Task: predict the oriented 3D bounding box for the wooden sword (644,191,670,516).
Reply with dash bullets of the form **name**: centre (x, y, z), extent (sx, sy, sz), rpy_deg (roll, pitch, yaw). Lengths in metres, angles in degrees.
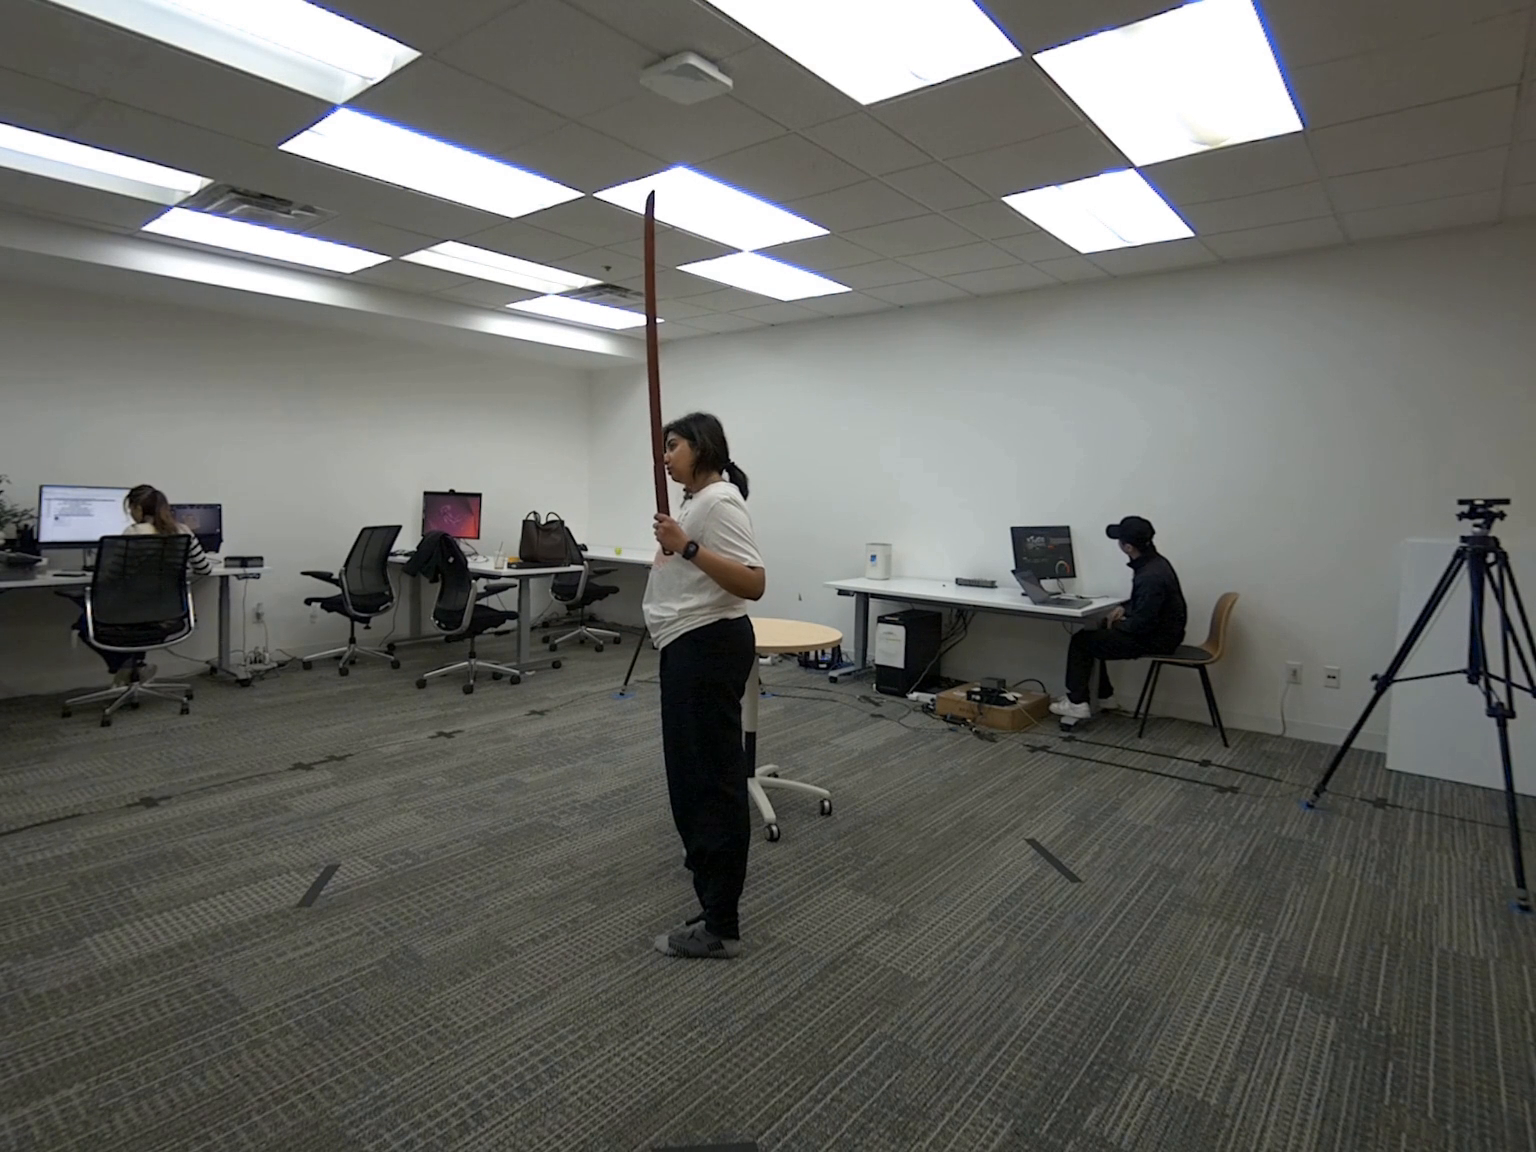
- **wooden sword**: centre (-0.344, -0.569, 2.435), extent (0.023, 1.015, 0.053), rpy_deg (-9, 12, -36)
